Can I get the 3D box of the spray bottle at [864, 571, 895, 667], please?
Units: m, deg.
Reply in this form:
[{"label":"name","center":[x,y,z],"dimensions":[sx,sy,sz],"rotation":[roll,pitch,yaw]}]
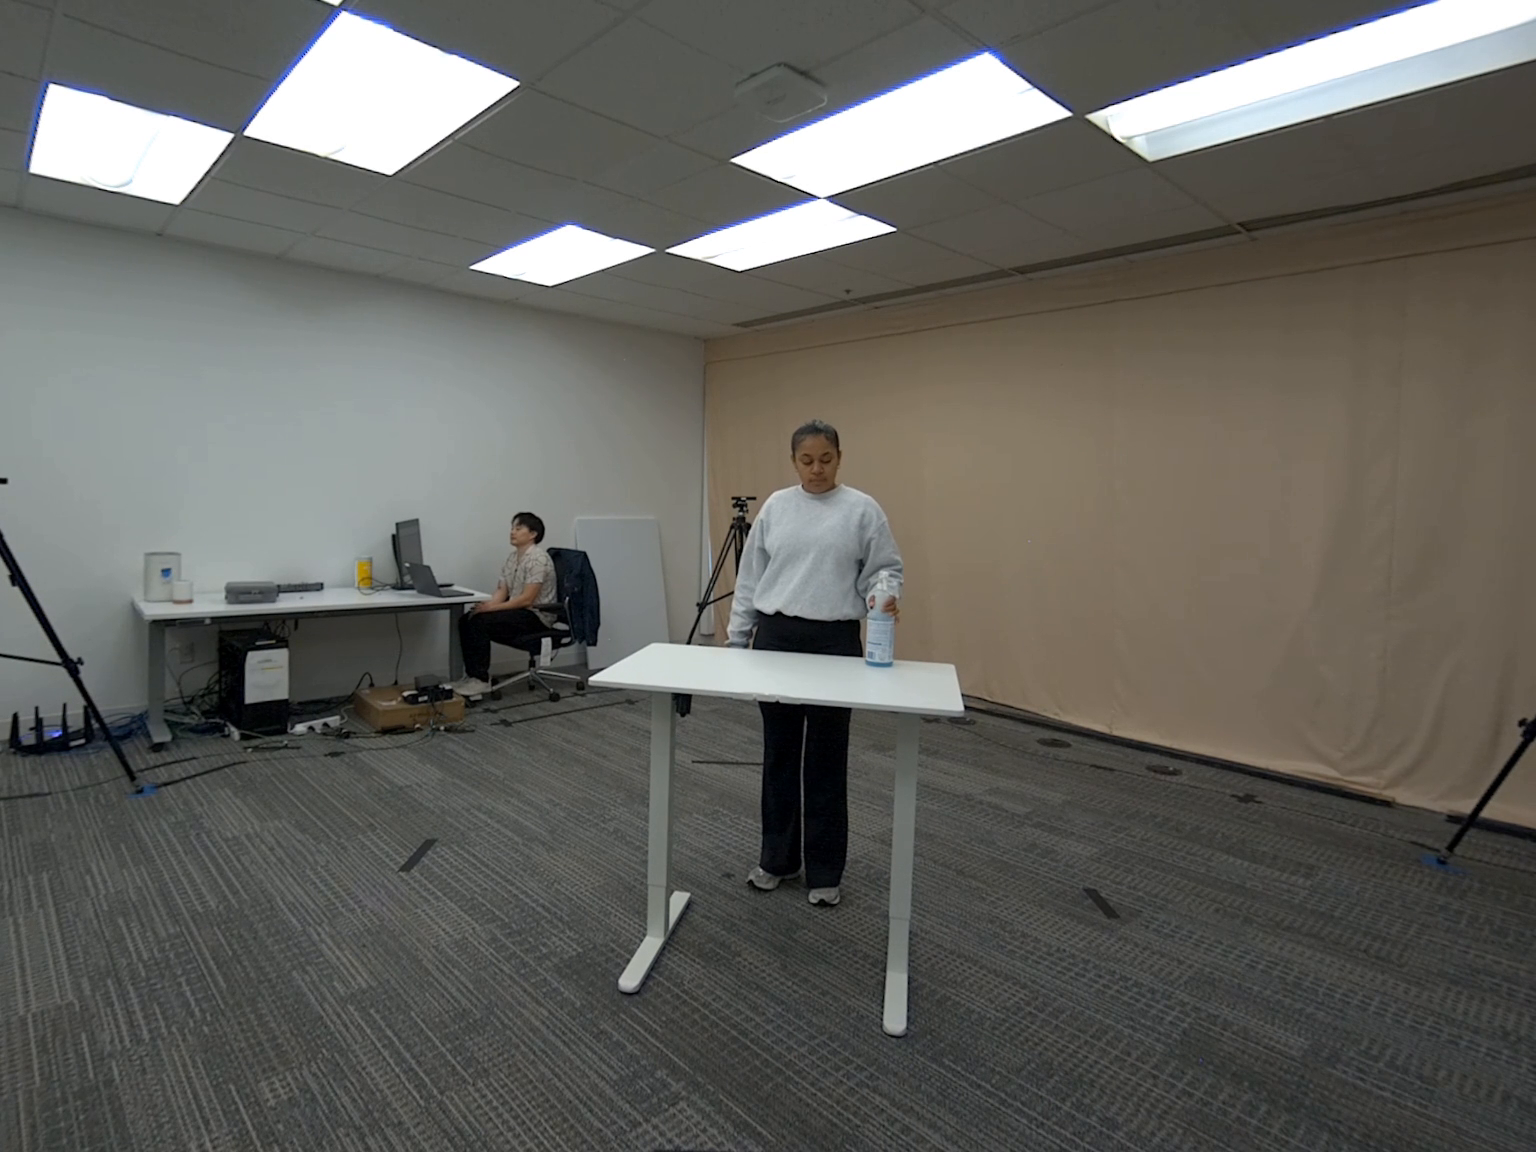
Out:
[{"label":"spray bottle","center":[0.343,0.135,2.630],"dimensions":[0.088,0.296,0.089],"rotation":[2,5,23]}]
